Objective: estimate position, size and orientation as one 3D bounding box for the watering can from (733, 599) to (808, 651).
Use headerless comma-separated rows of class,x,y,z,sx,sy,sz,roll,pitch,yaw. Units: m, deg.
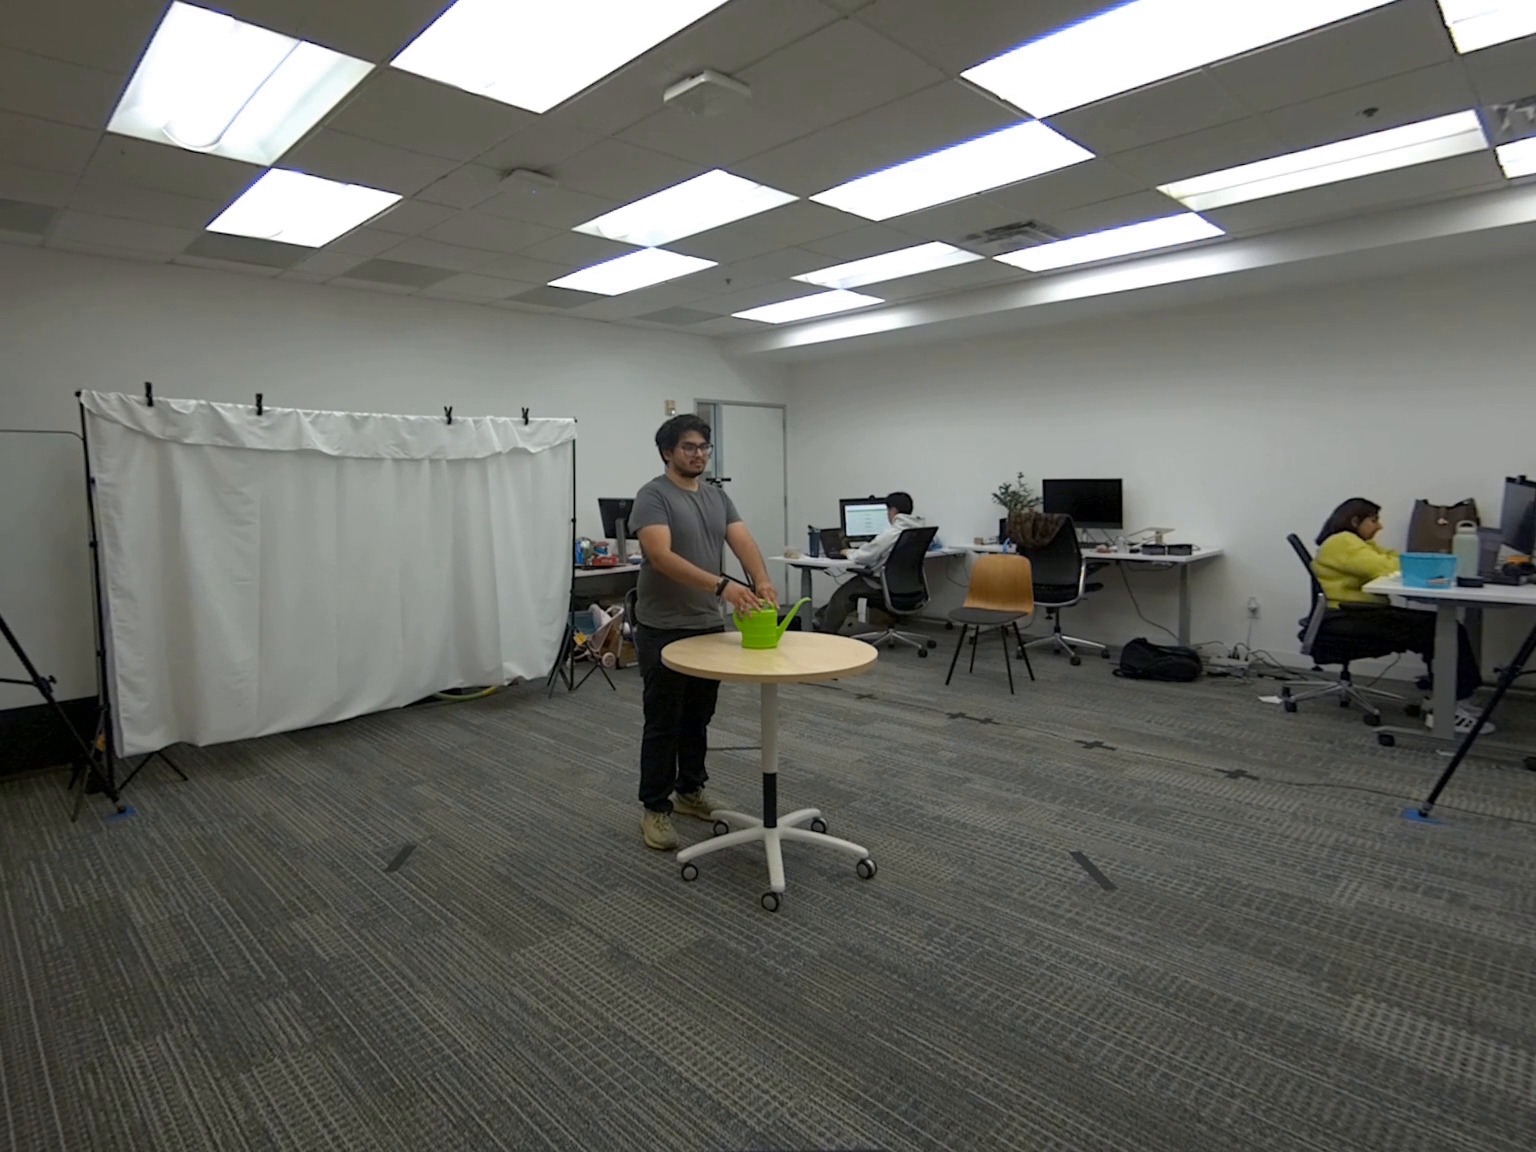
watering can,0.013,0.173,3.085,0.284,0.176,0.096,-2,2,26
